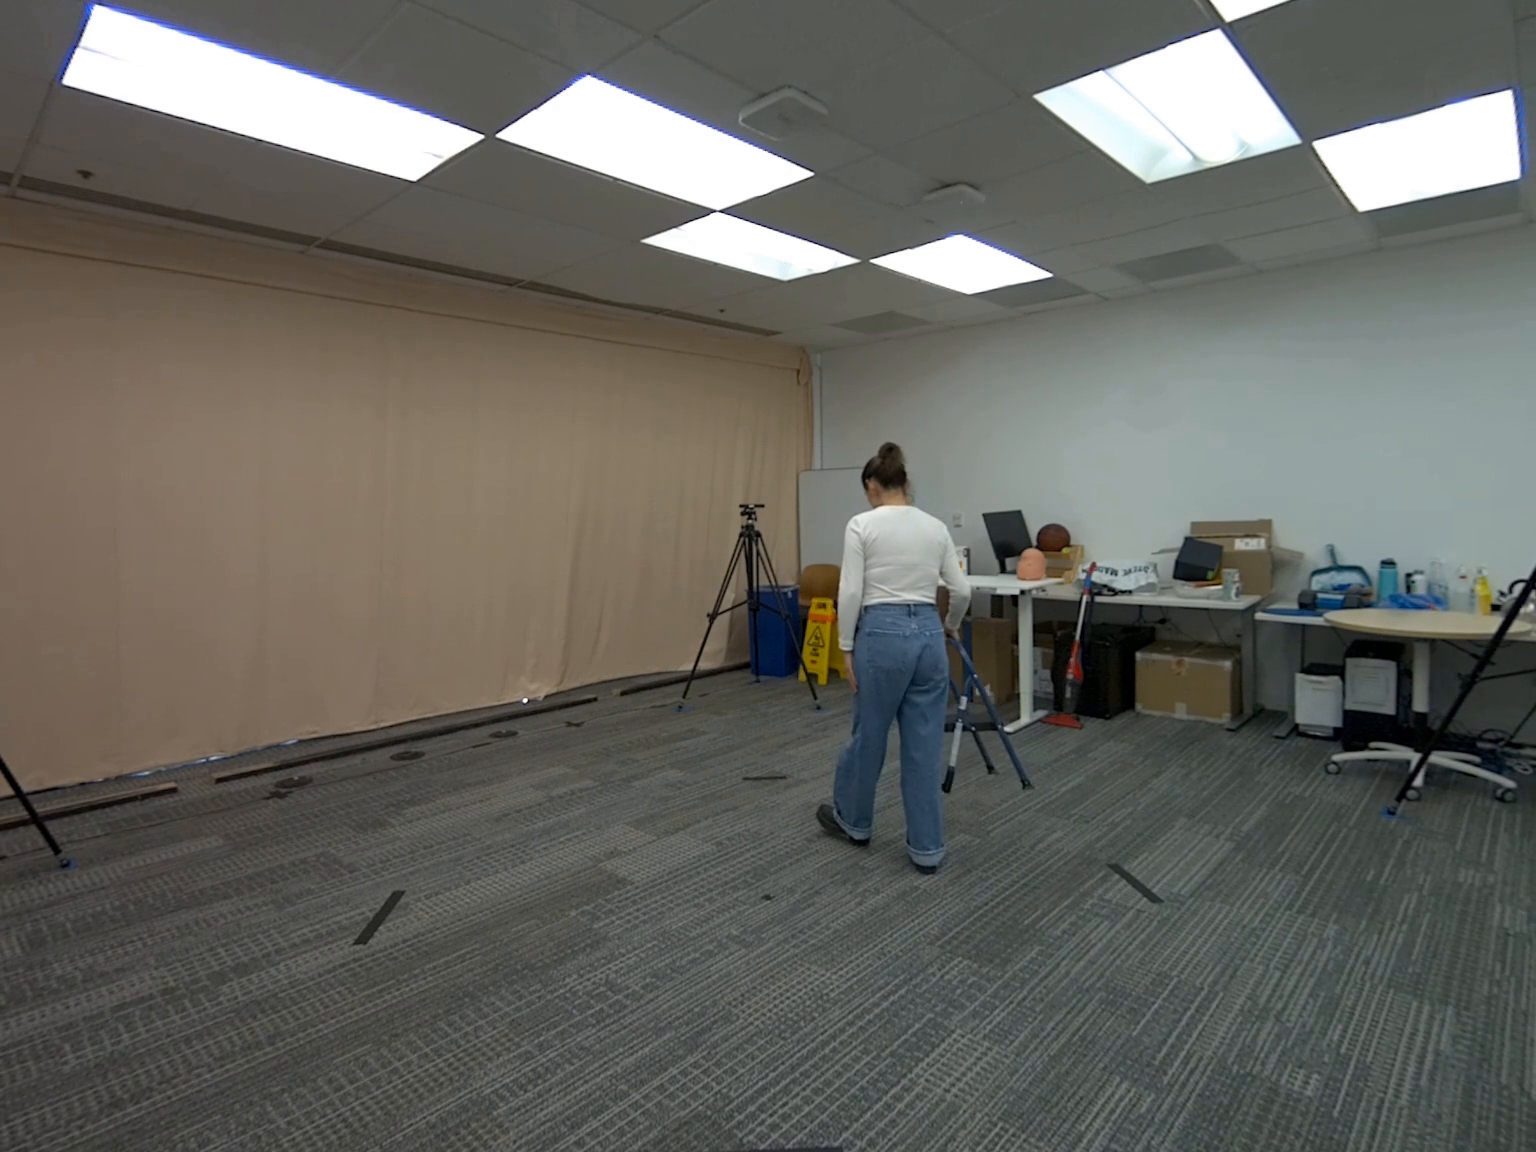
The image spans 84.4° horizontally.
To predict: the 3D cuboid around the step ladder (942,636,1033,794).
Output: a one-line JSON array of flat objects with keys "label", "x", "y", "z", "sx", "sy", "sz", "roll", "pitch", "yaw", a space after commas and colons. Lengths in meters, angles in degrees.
[{"label": "step ladder", "x": 0.824, "y": 0.554, "z": 3.487, "sx": 0.348, "sy": 0.609, "sz": 0.430, "roll": -2, "pitch": -6, "yaw": -4}]
